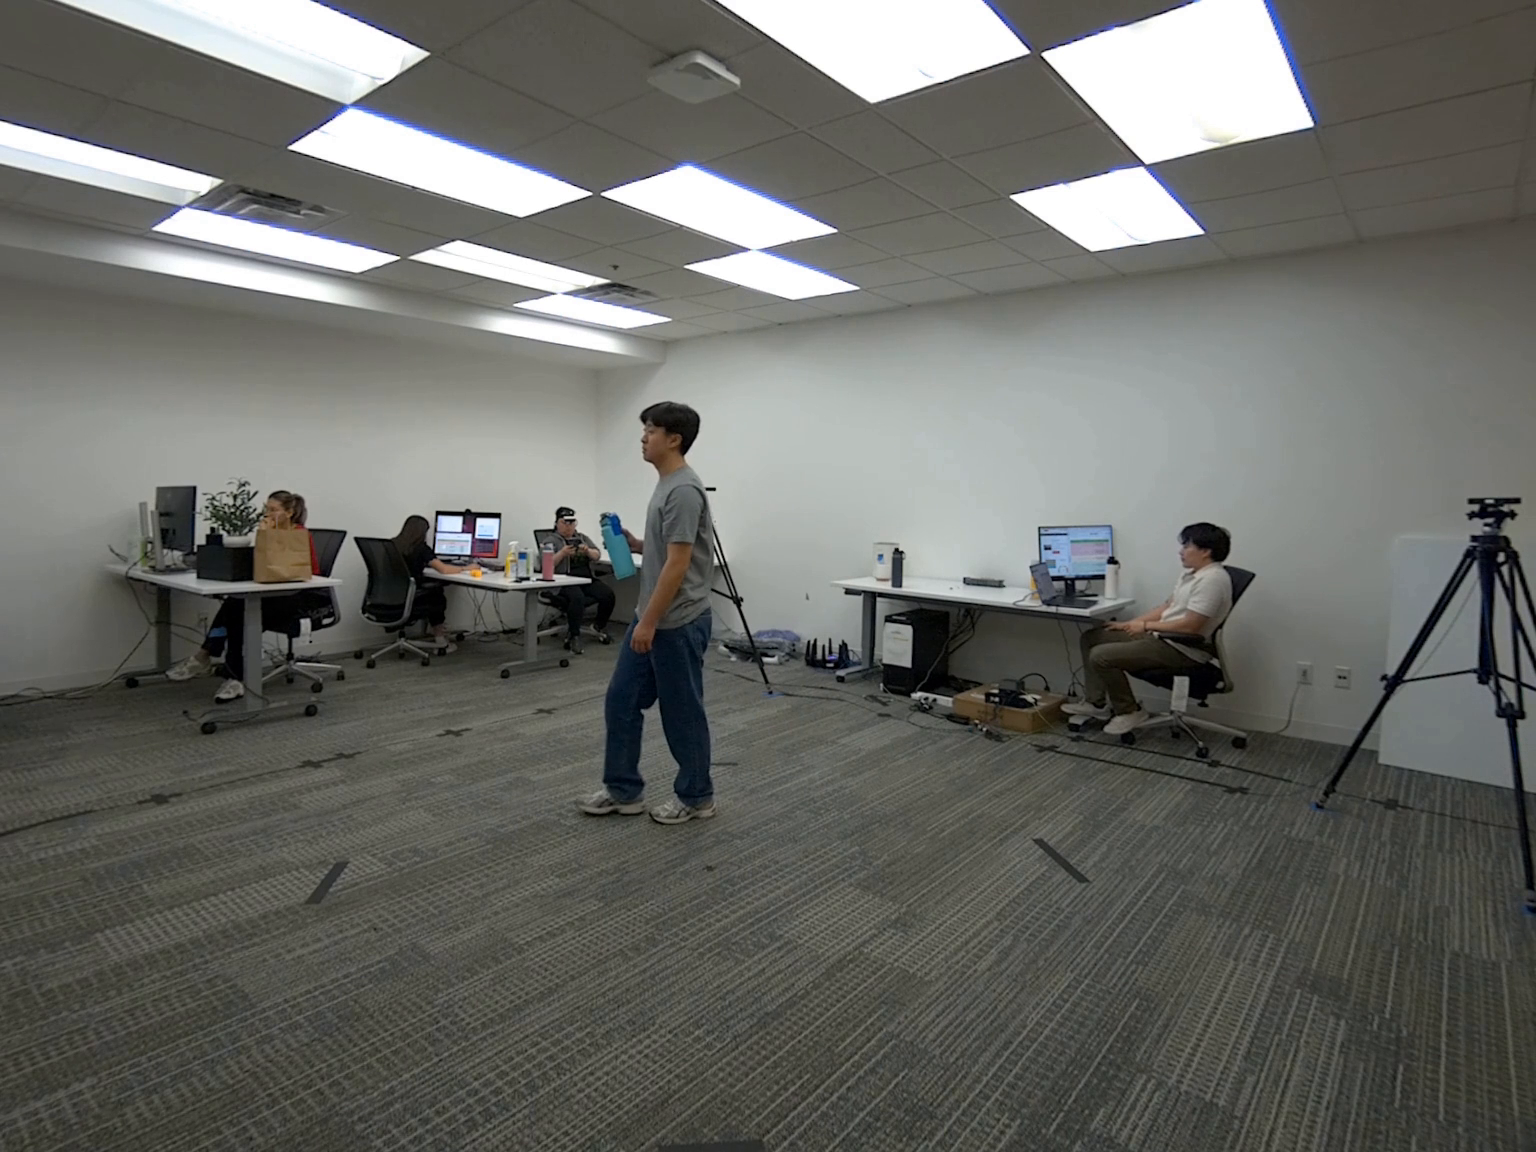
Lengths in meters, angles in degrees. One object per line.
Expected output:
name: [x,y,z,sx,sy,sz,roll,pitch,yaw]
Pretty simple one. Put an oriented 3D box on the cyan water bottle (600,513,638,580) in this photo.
cyan water bottle: [-0.647,-0.140,3.540,0.092,0.283,0.092,-17,0,-1]
